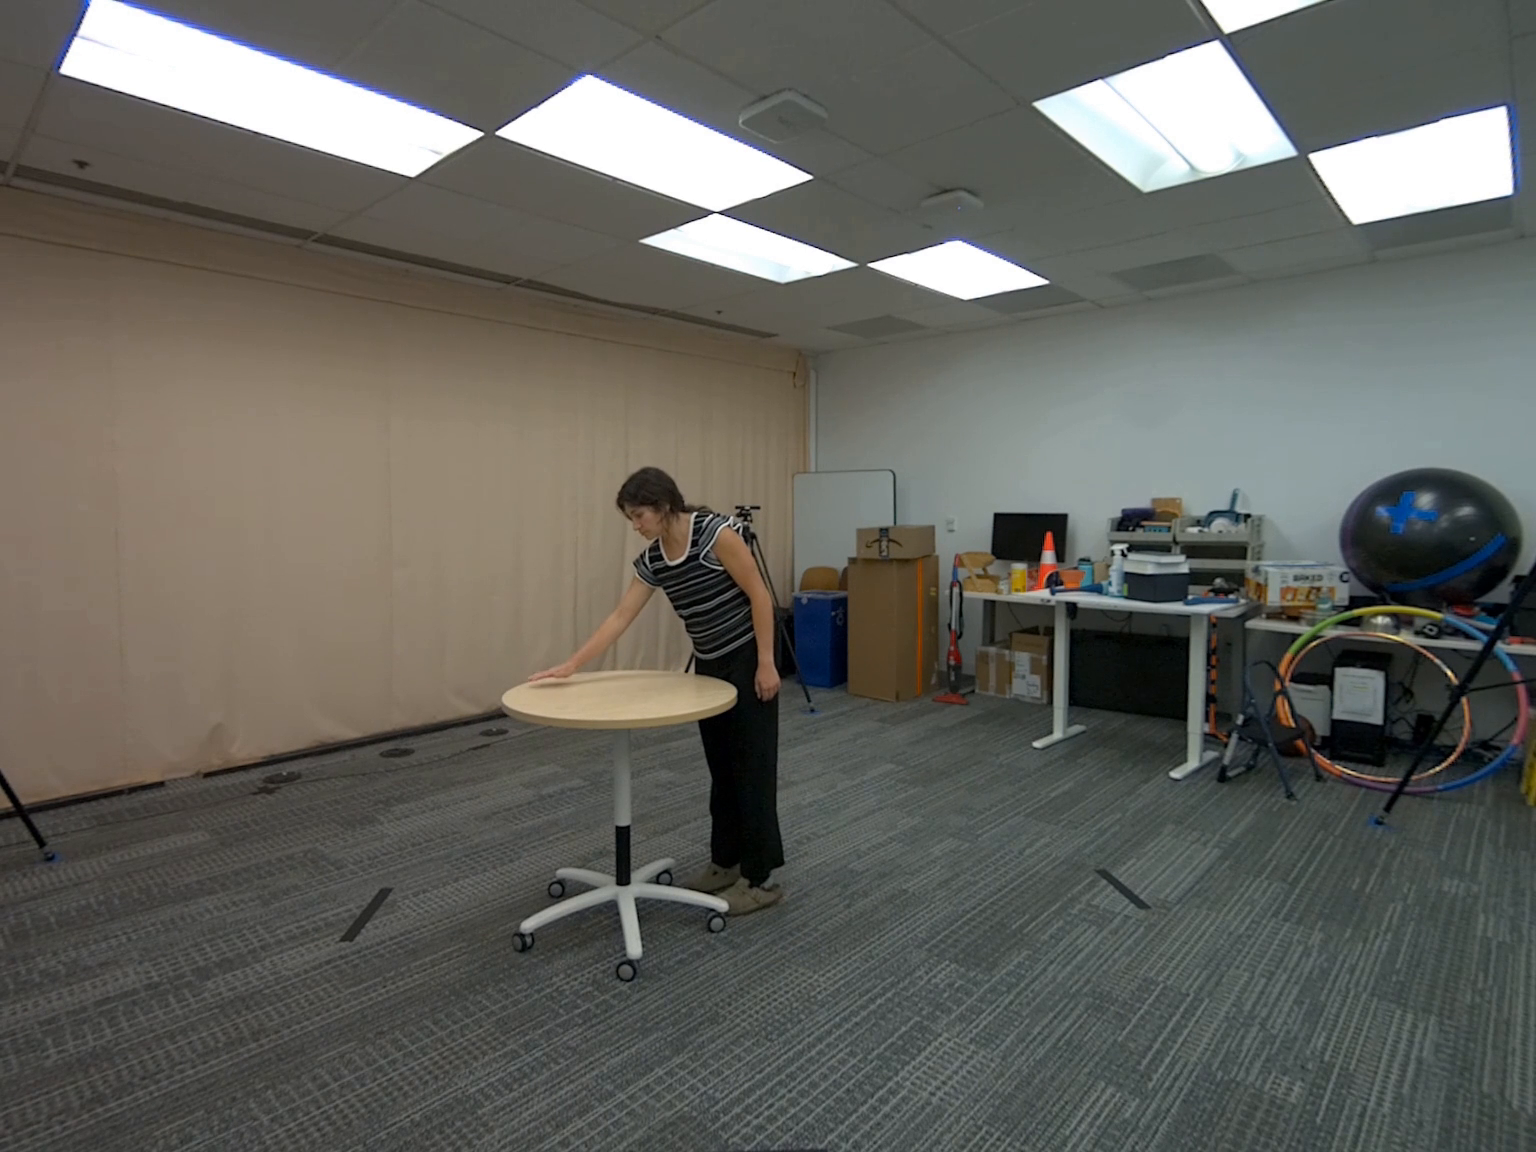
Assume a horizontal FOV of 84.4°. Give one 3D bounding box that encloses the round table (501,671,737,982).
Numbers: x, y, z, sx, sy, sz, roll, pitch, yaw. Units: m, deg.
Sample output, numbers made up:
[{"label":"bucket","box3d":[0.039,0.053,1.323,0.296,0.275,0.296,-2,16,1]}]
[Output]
[{"label":"round table","box3d":[-0.484,0.777,2.783,0.763,0.792,0.766,0,3,-2]}]
